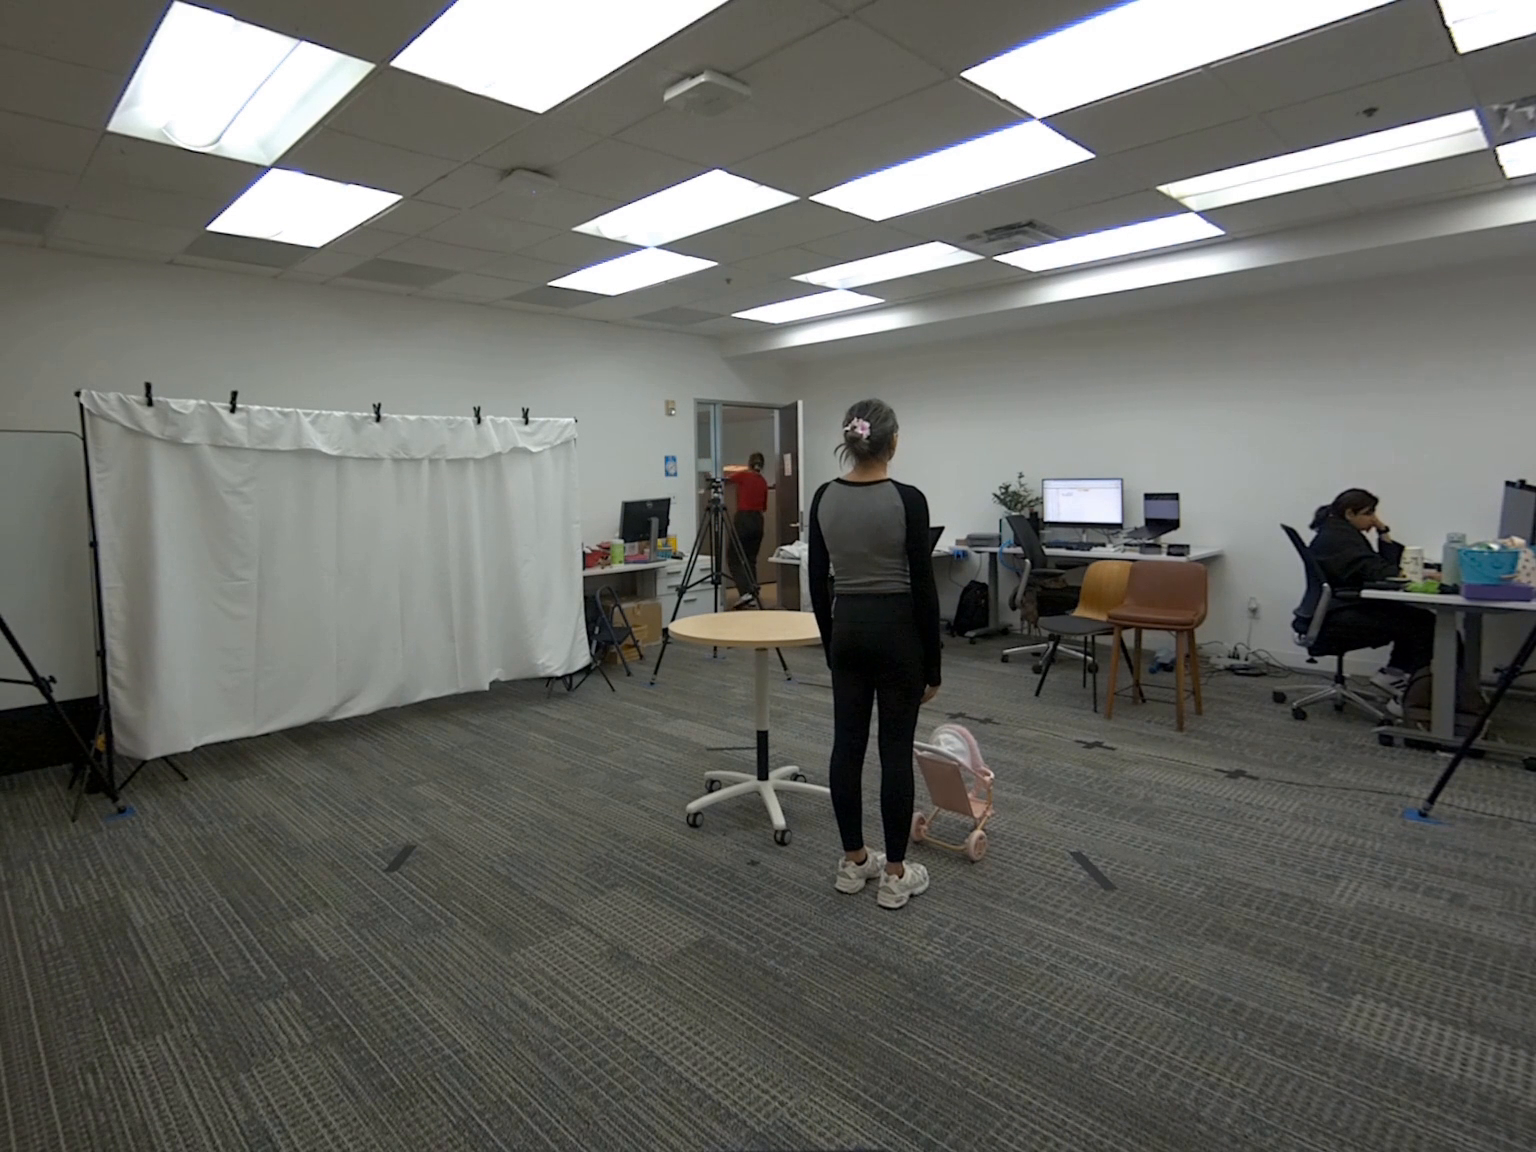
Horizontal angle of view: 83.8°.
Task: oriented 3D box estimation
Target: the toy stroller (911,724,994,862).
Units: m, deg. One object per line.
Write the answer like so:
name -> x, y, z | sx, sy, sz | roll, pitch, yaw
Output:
toy stroller -> 0.708, 0.793, 3.213 | 0.336, 0.527, 0.290 | -23, 18, -39
